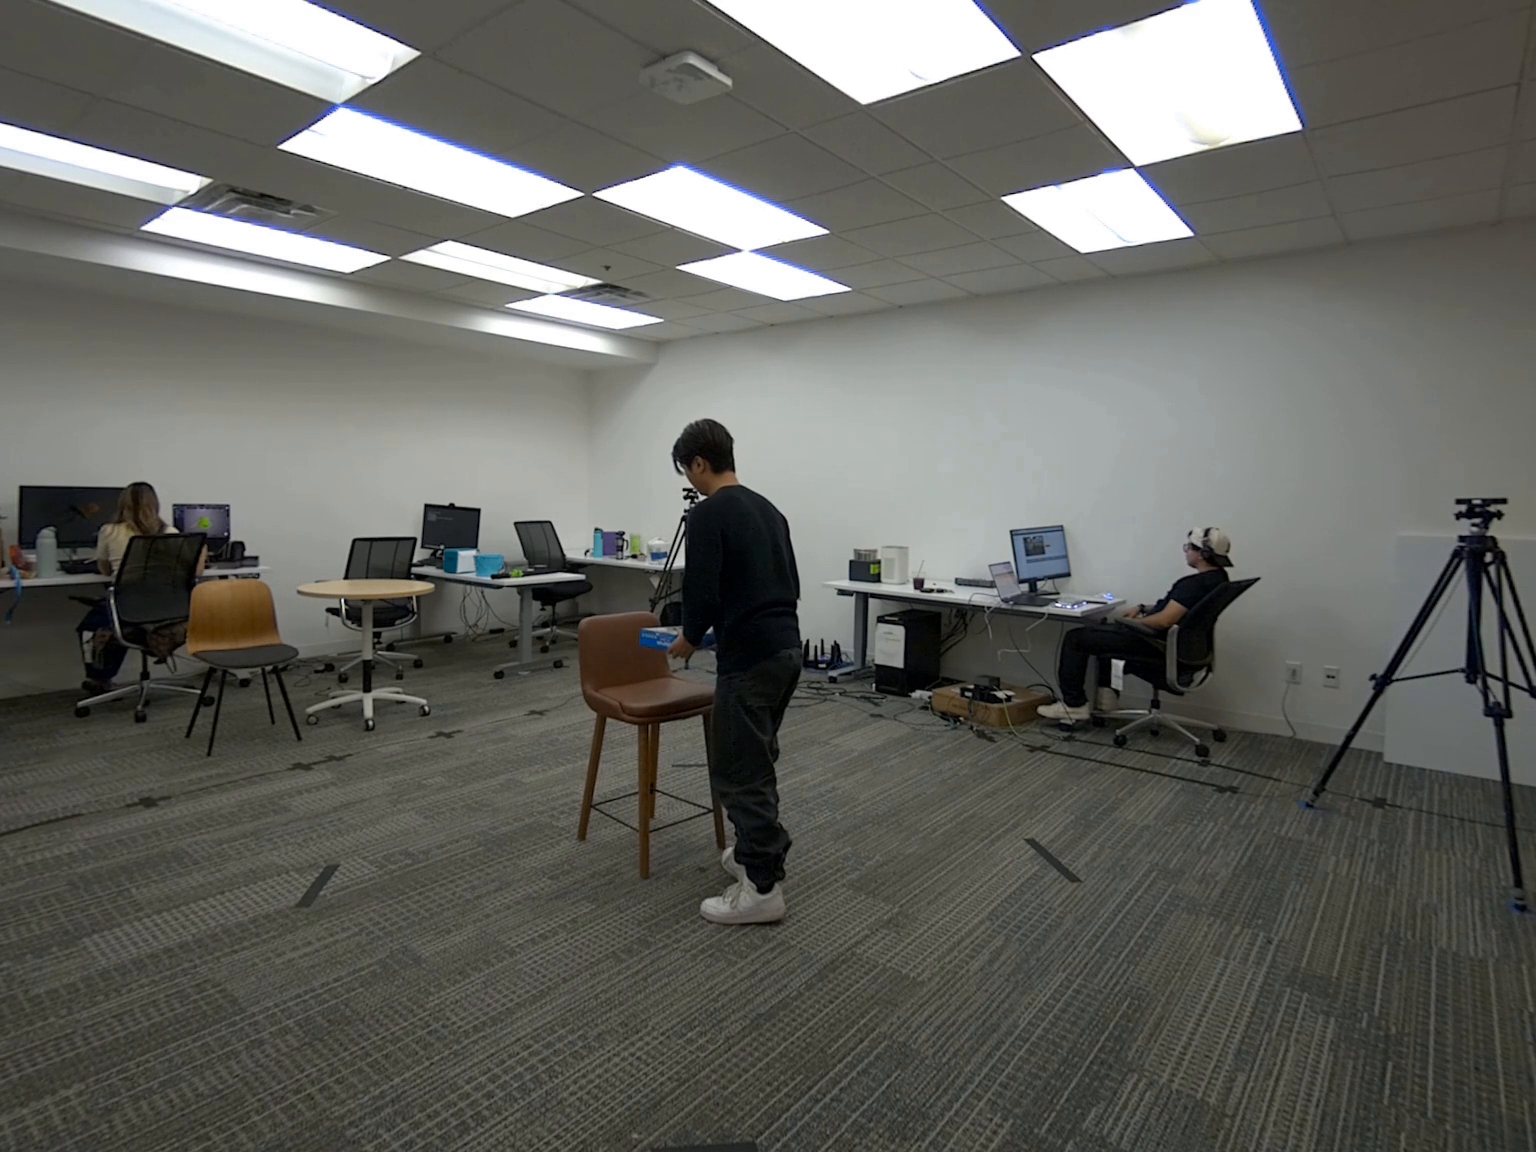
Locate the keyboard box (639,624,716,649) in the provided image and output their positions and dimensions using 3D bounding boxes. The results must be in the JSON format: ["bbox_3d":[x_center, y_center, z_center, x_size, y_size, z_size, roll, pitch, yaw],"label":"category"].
[{"bbox_3d":[-0.278,0.226,3.213,0.182,0.059,0.423,6,2,35],"label":"keyboard box"}]
